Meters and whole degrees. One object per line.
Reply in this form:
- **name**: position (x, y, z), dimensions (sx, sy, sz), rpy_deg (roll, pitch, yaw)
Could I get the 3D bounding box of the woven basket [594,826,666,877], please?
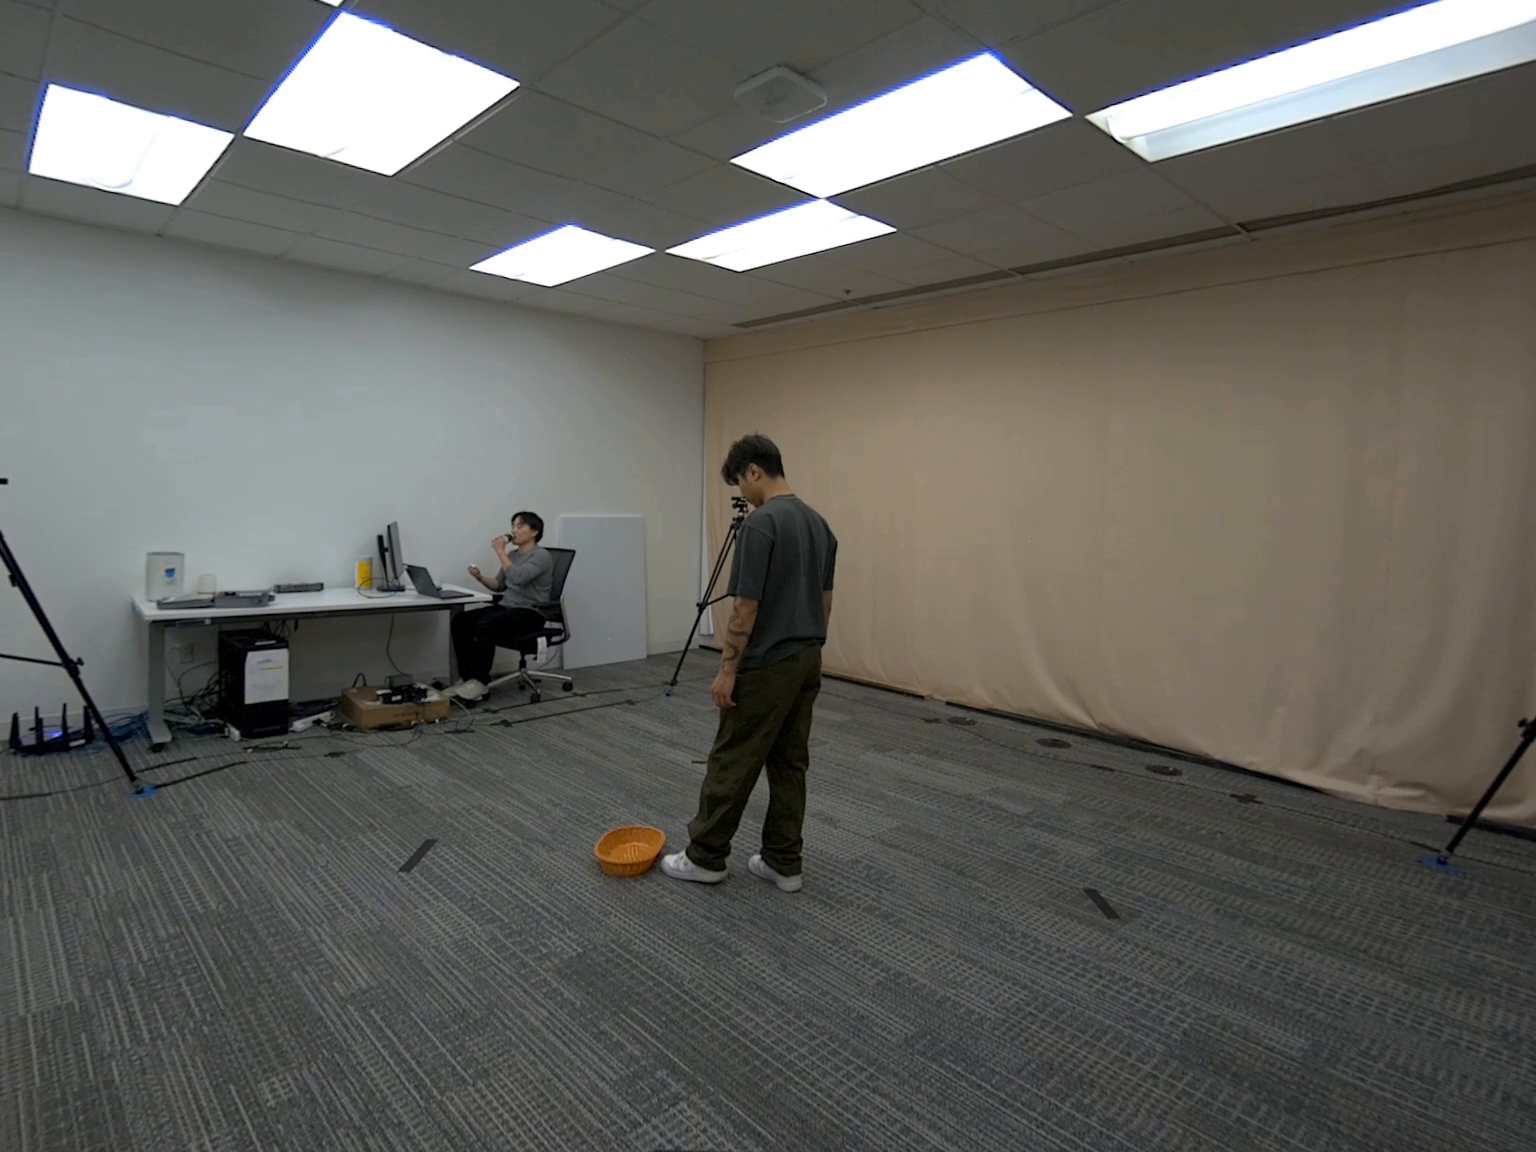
- **woven basket**: position (-0.535, 1.047, 3.215), dimensions (0.254, 0.073, 0.349), rpy_deg (2, 6, 8)
